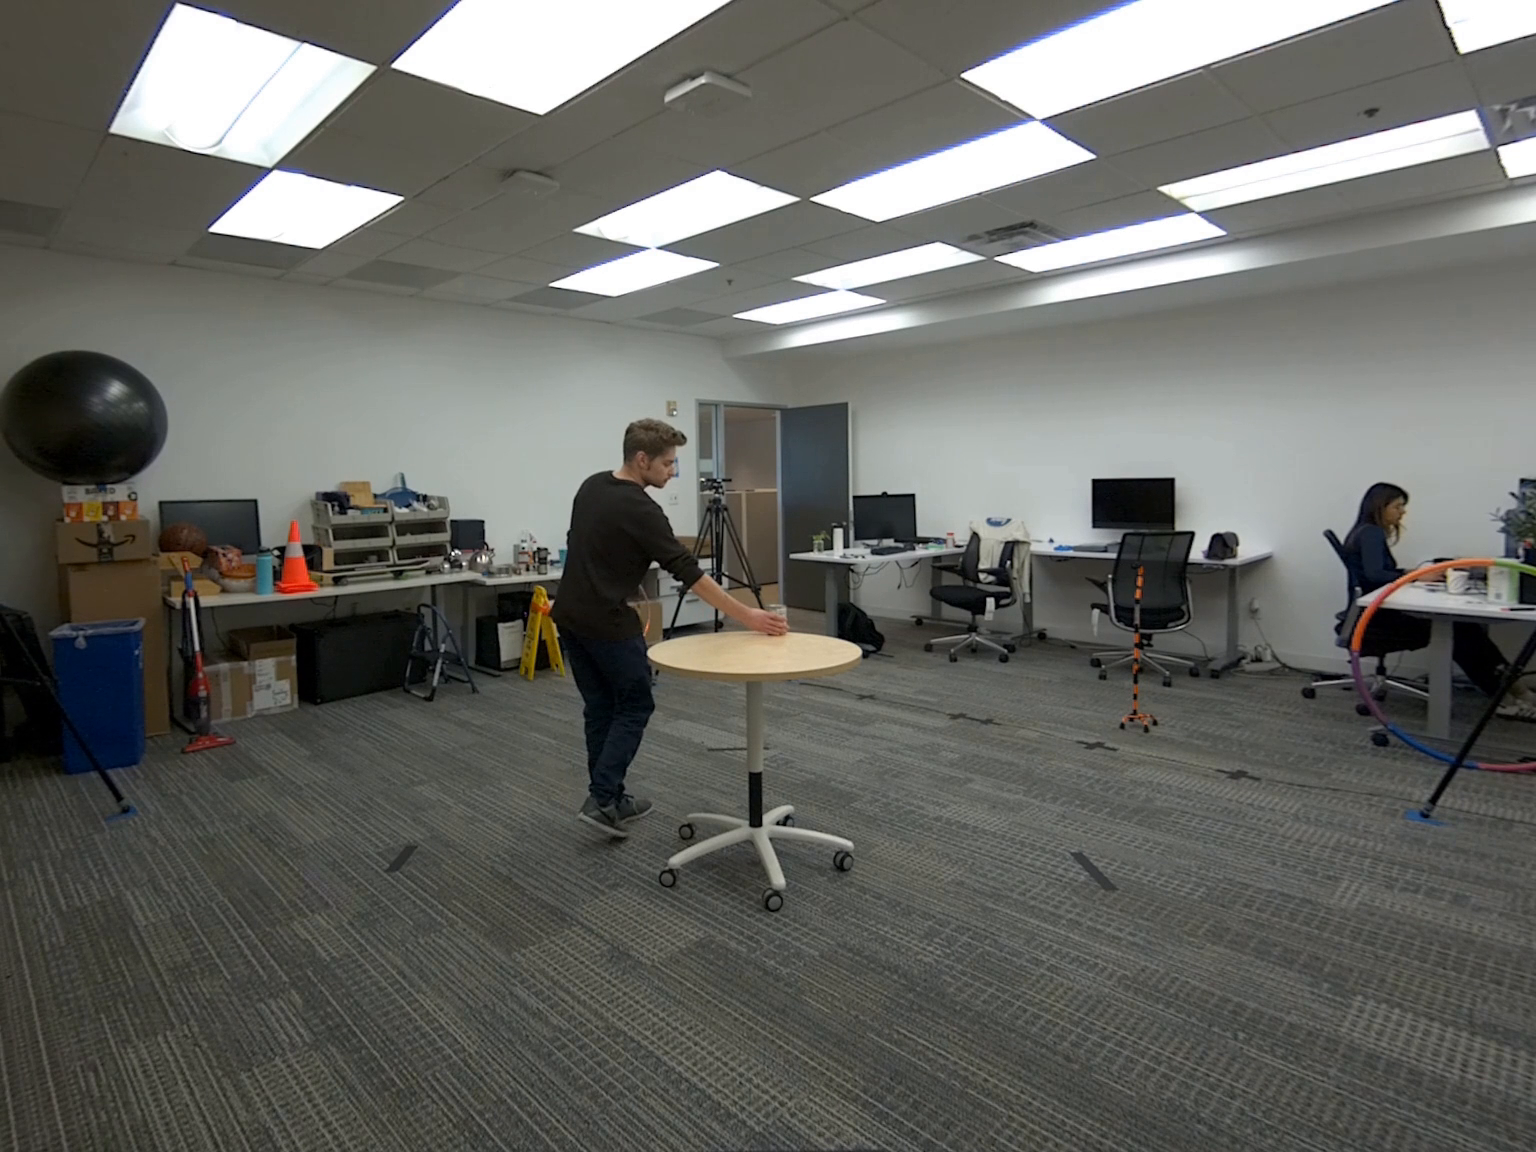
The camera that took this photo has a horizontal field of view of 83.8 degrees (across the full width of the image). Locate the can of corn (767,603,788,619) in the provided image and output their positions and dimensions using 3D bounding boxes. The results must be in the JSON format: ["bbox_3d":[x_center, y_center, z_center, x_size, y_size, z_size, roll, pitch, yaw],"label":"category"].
[{"bbox_3d":[0.032,0.175,3.369,0.074,0.110,0.074,-3,4,-1],"label":"can of corn"}]
